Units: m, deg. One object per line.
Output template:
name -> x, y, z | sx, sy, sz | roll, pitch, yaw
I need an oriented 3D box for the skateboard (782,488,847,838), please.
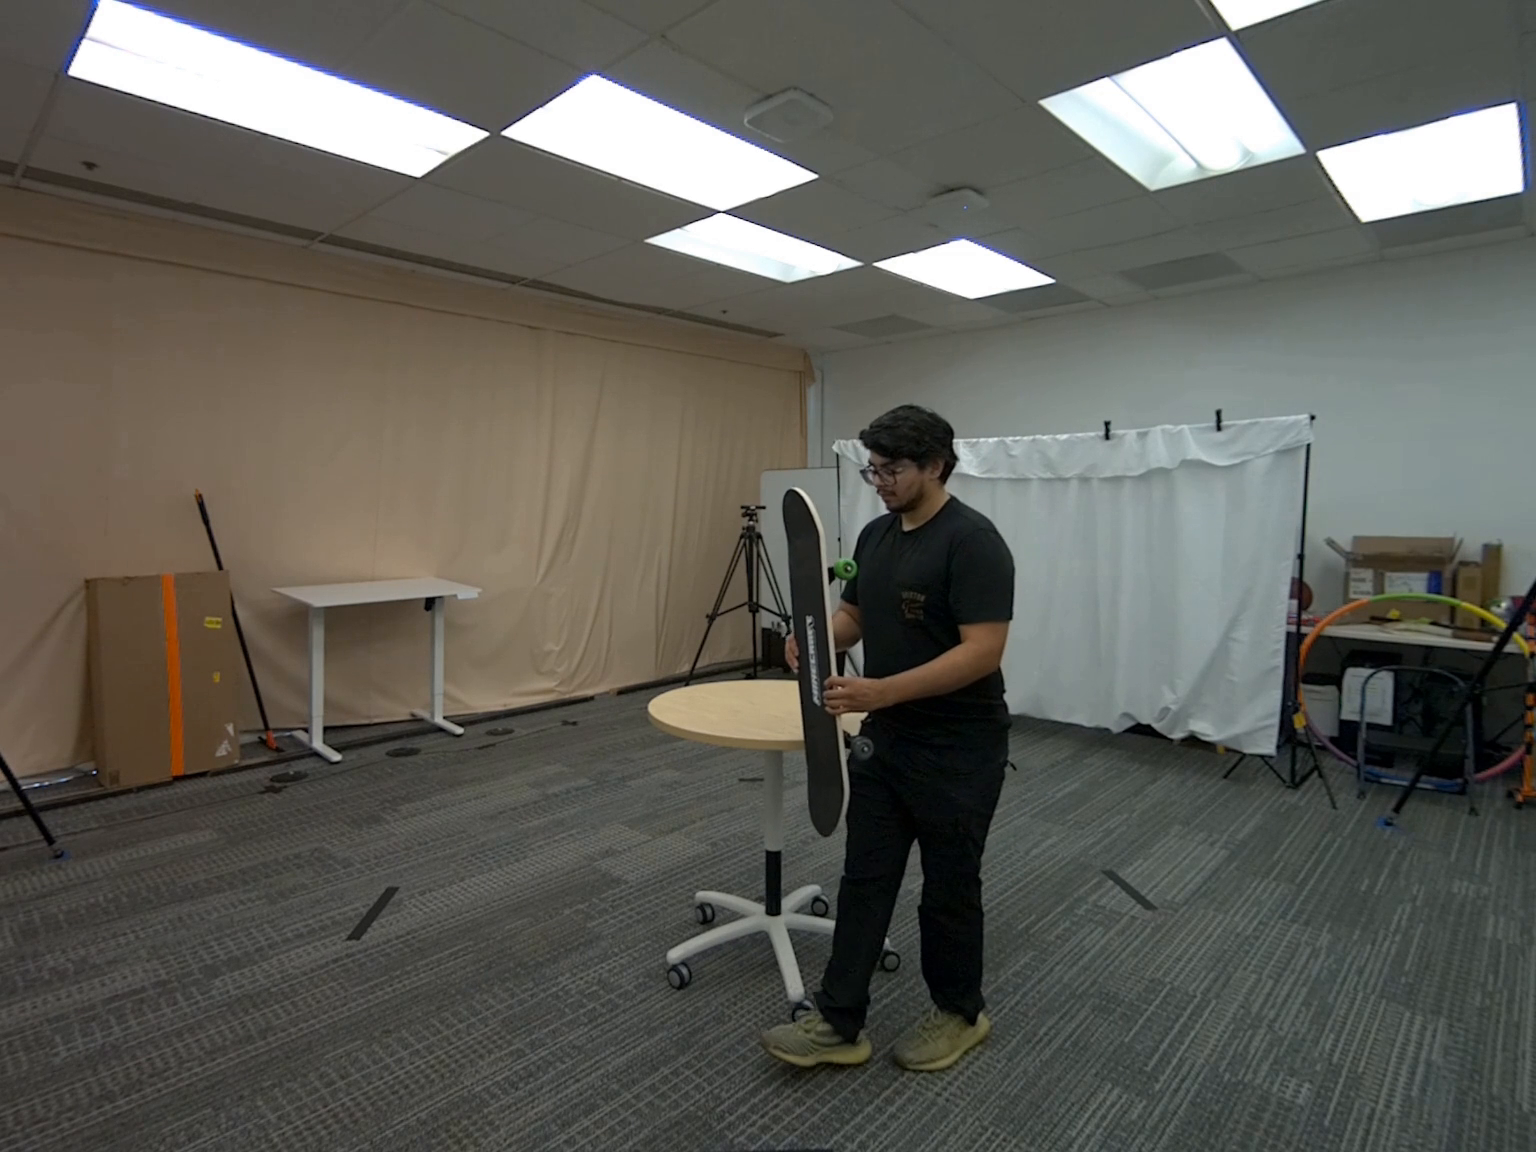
skateboard -> 0.137, 0.188, 1.918 | 0.108, 0.785, 0.197 | -4, 0, -23
